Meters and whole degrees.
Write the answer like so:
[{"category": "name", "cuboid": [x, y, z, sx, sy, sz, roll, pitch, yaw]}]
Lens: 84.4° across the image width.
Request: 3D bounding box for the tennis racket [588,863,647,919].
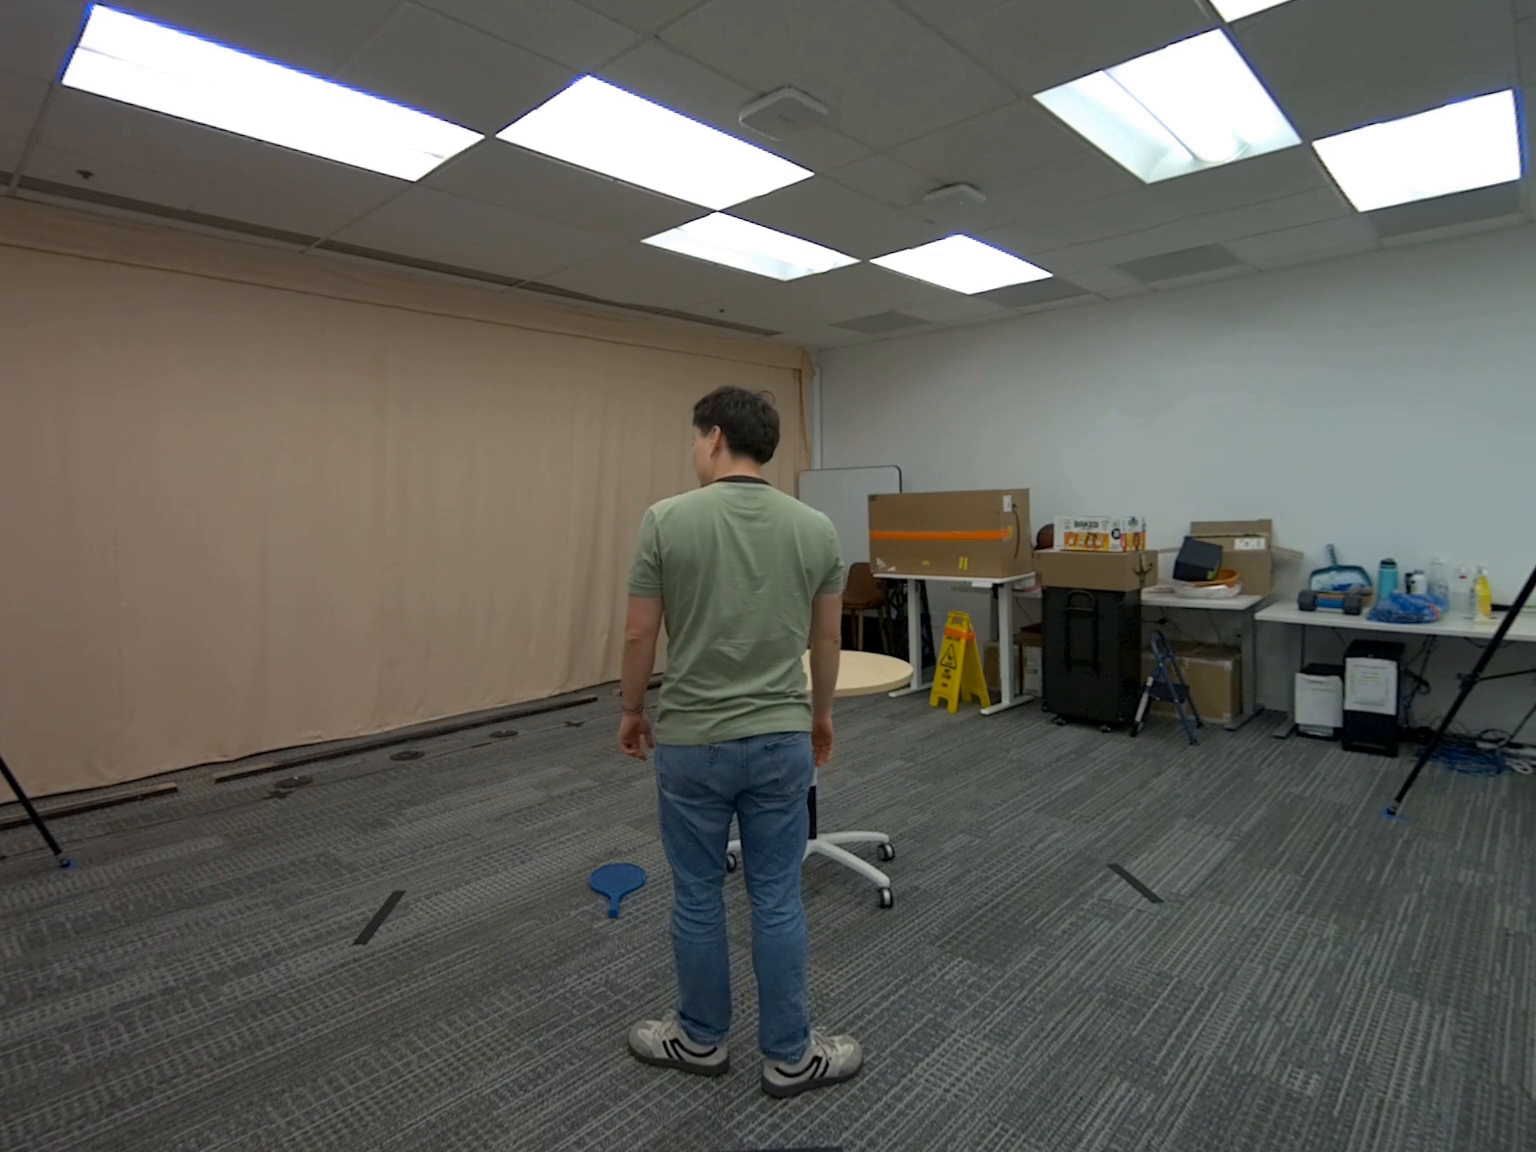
[{"category": "tennis racket", "cuboid": [-0.552, 1.132, 3.061, 0.213, 0.032, 0.436, -2, 4, -6]}]
